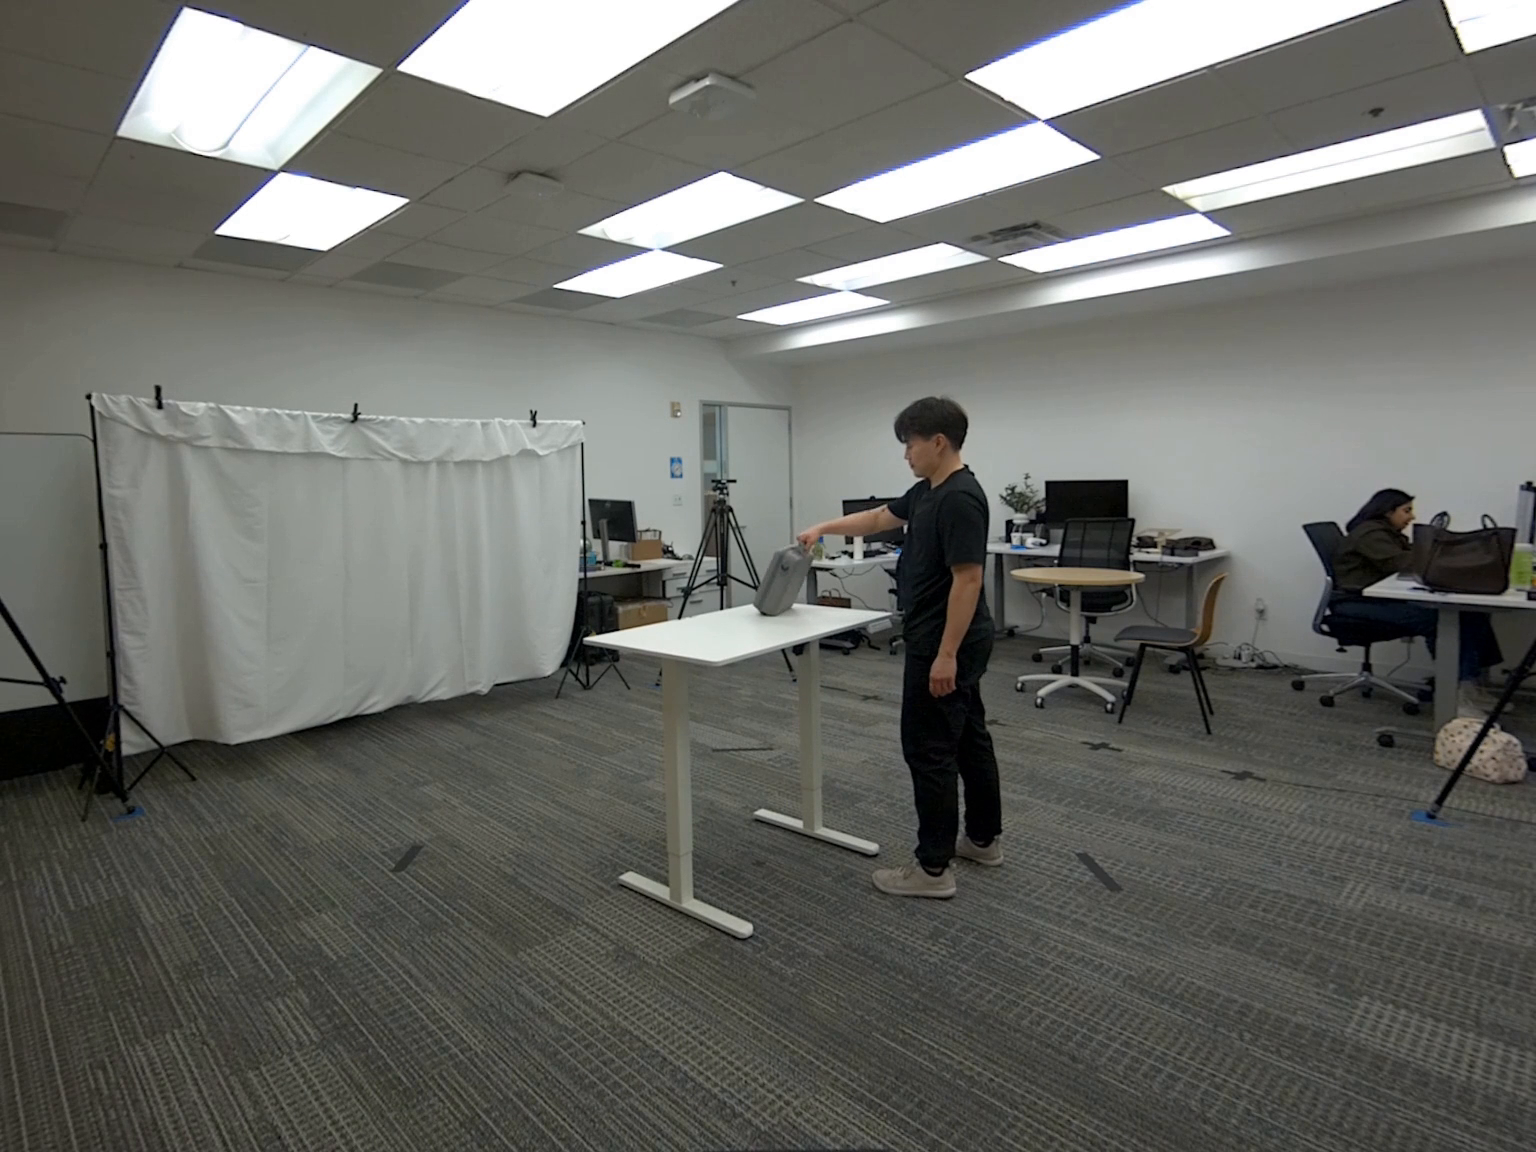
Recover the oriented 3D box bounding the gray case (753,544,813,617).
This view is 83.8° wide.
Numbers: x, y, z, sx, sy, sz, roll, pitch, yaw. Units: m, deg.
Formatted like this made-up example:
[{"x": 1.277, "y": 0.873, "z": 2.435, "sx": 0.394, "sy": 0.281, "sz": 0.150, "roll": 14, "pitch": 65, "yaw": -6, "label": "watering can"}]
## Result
[{"x": 0.066, "y": 0.013, "z": 3.283, "sx": 0.106, "sy": 0.259, "sz": 0.253, "roll": 23, "pitch": 14, "yaw": 16, "label": "gray case"}]
